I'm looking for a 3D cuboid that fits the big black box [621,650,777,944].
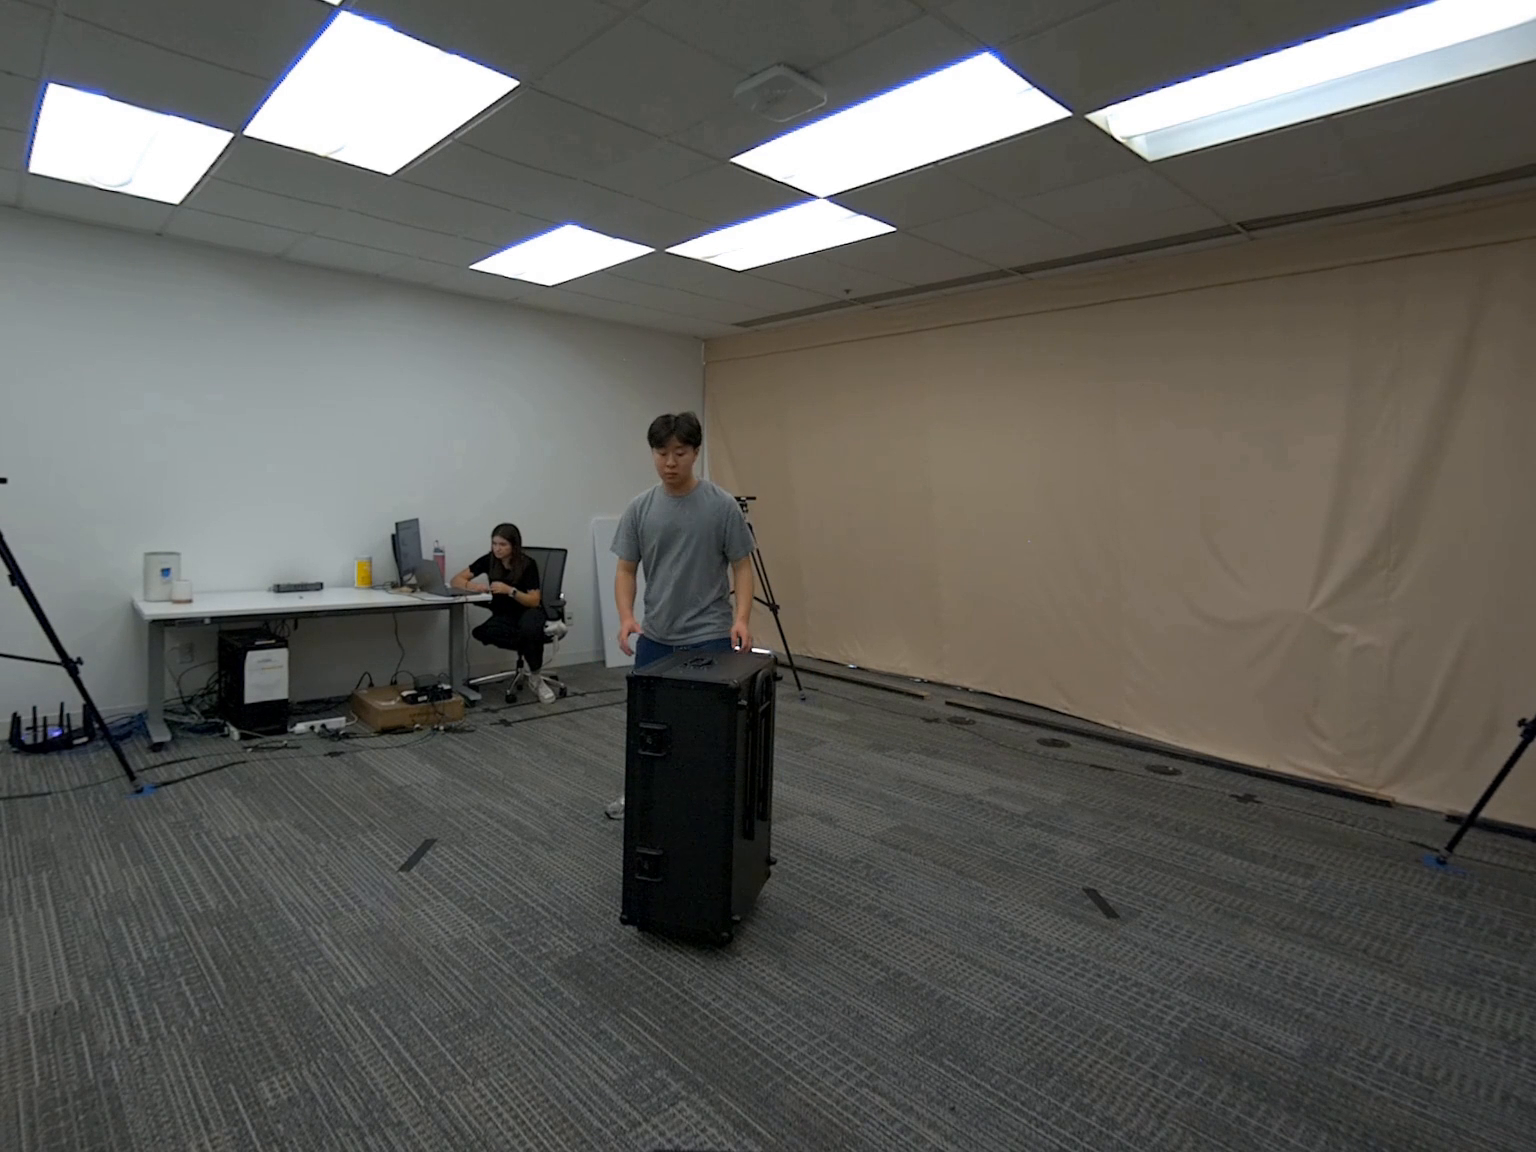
[{"bbox_3d":[-0.205,0.715,2.756,0.402,0.859,0.515,3,4,16],"label":"big black box"}]
